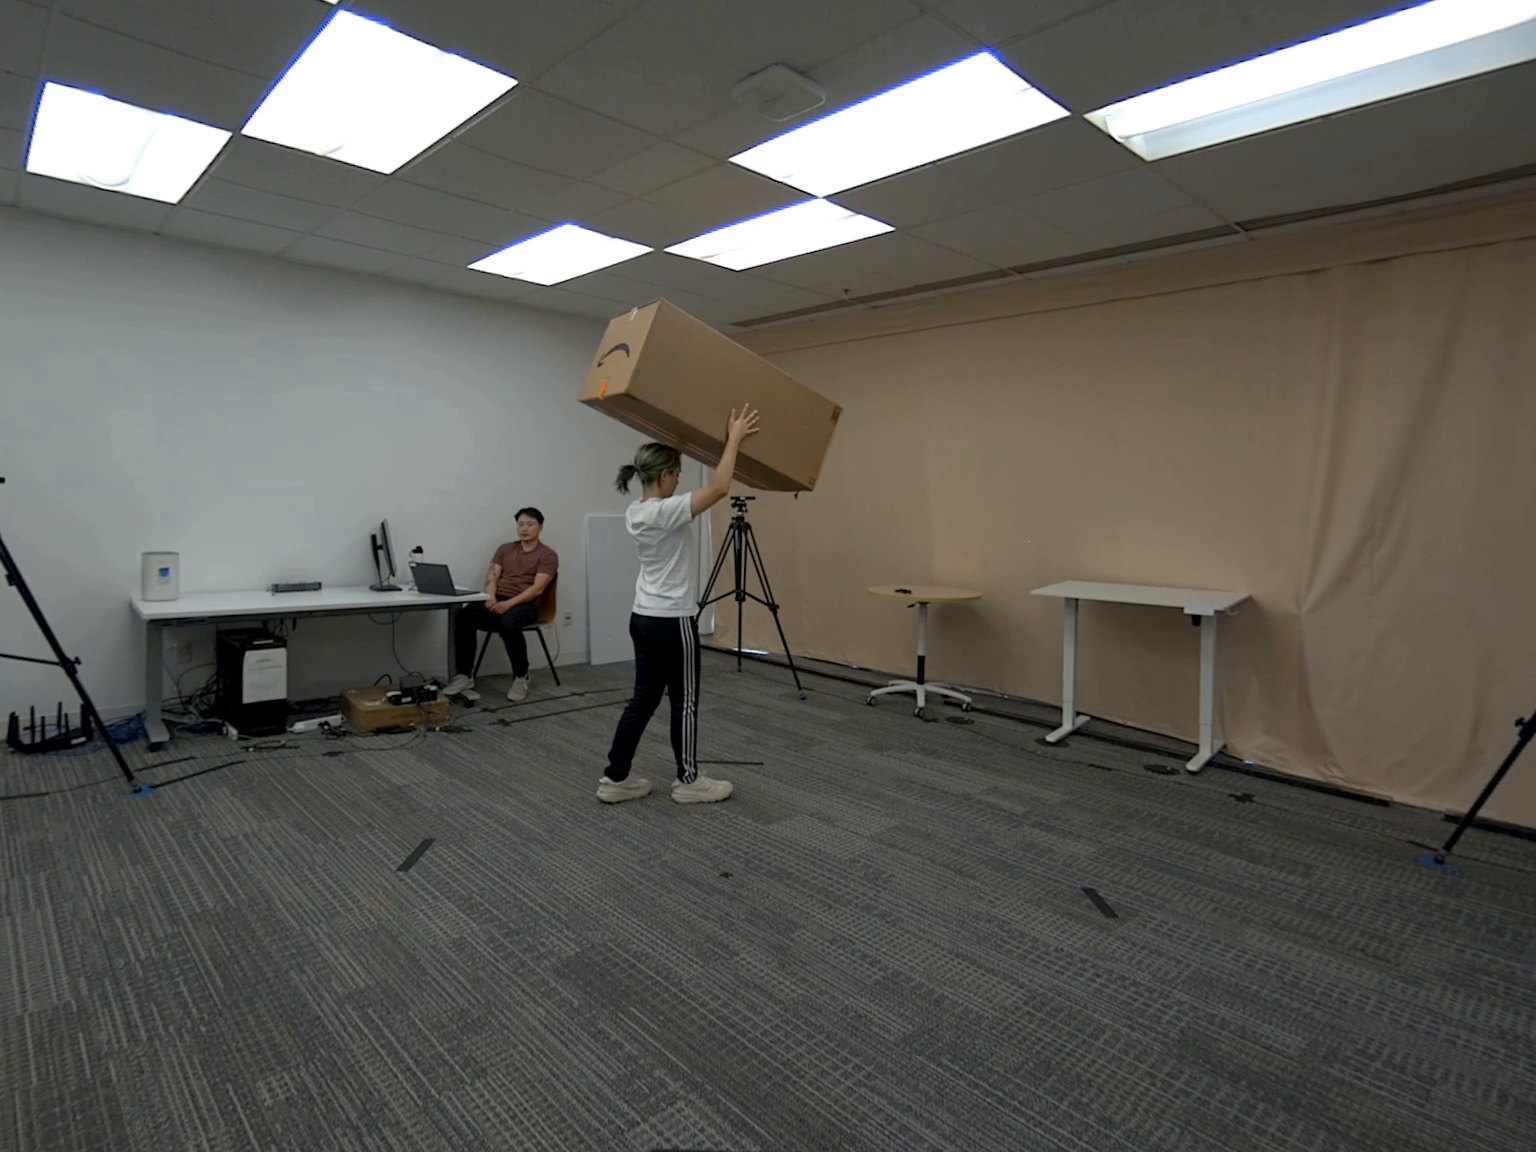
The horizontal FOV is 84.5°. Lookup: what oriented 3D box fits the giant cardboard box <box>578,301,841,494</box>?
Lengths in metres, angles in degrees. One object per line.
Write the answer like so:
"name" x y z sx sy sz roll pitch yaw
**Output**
"giant cardboard box" -0.264 -0.786 3.878 1.000 0.448 0.597 25 -8 -30
